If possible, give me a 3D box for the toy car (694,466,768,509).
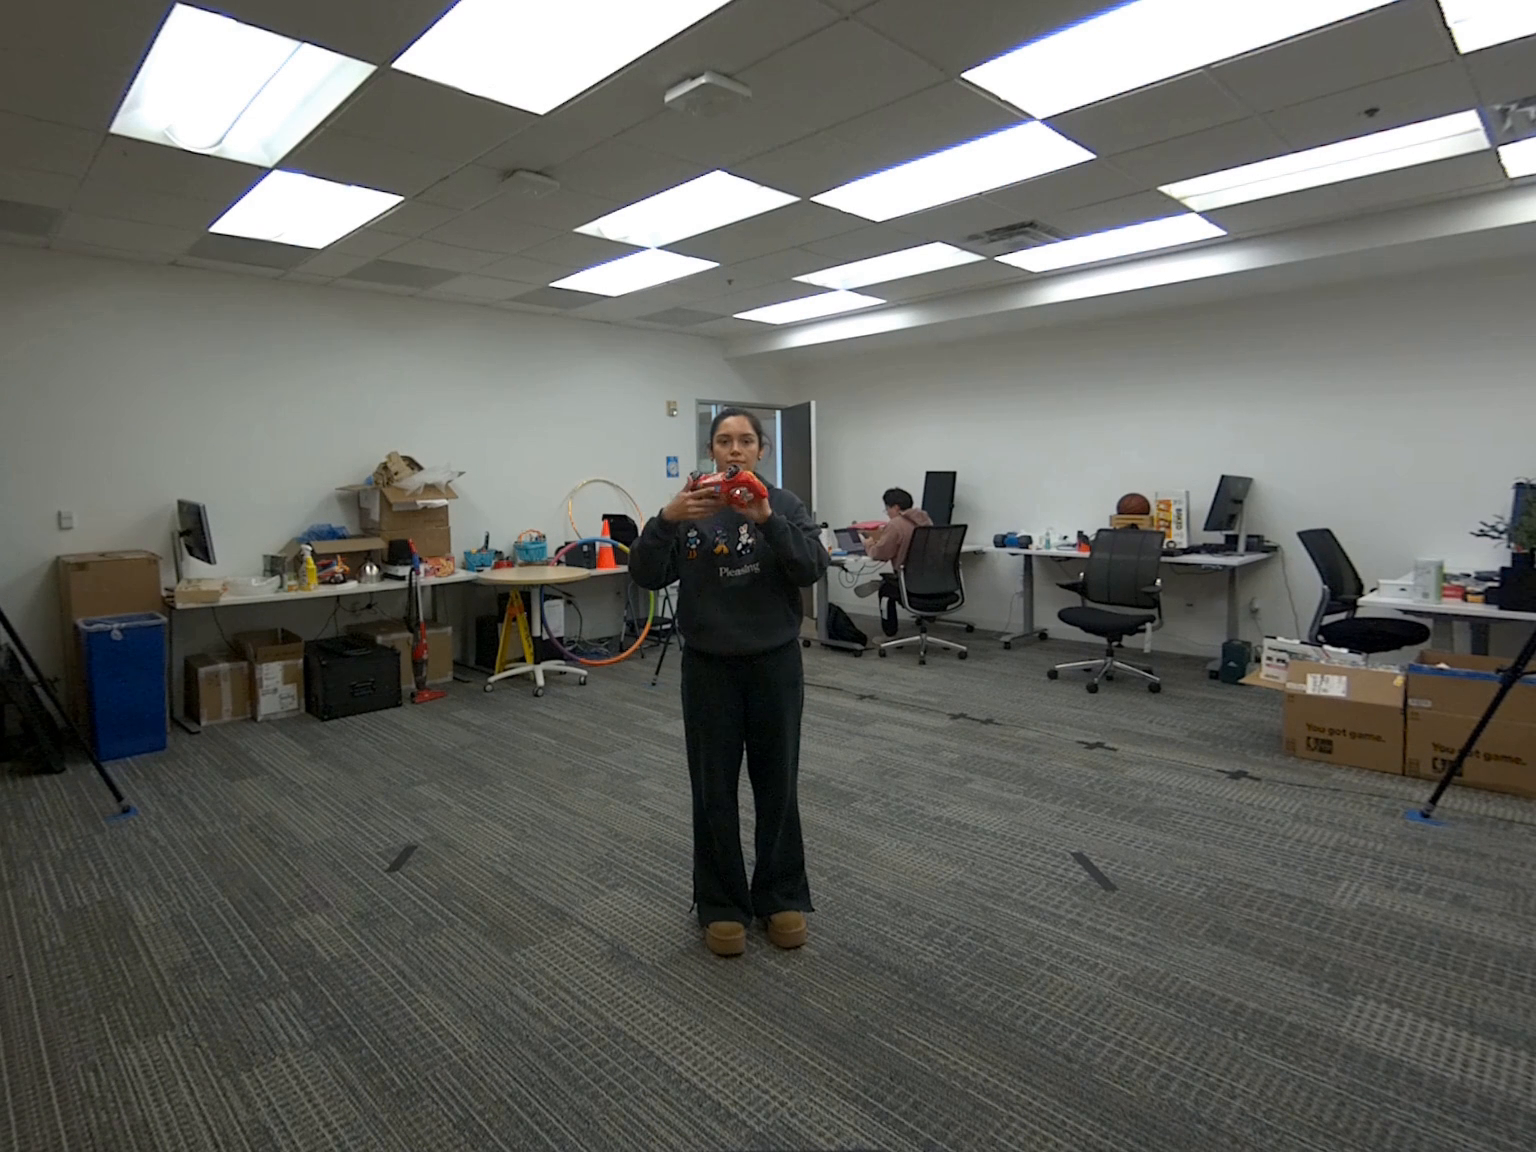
[{"bbox_3d":[-0.102,-0.241,2.316,0.263,0.083,0.125,11,-23,48],"label":"toy car"}]
